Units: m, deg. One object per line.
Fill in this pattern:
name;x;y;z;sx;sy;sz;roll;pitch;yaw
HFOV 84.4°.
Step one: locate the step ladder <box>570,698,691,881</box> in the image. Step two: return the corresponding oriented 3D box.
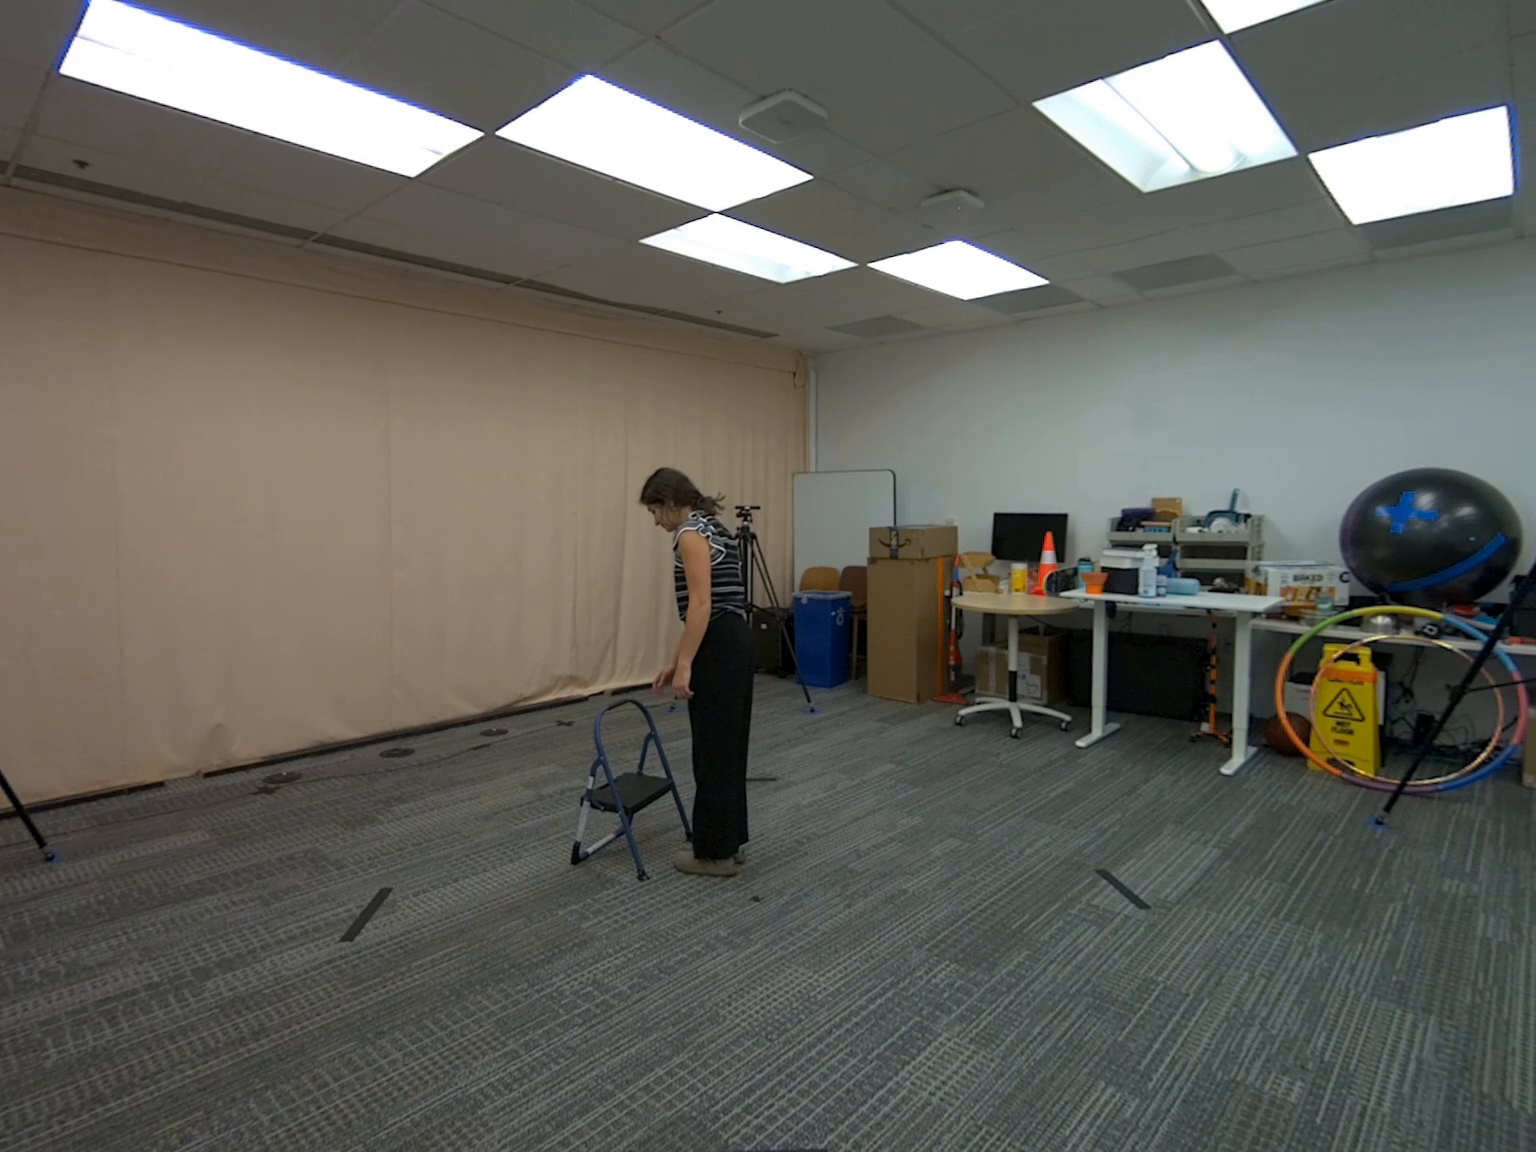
step ladder;-0.540;0.816;3.386;0.358;0.605;0.421;1;3;24
